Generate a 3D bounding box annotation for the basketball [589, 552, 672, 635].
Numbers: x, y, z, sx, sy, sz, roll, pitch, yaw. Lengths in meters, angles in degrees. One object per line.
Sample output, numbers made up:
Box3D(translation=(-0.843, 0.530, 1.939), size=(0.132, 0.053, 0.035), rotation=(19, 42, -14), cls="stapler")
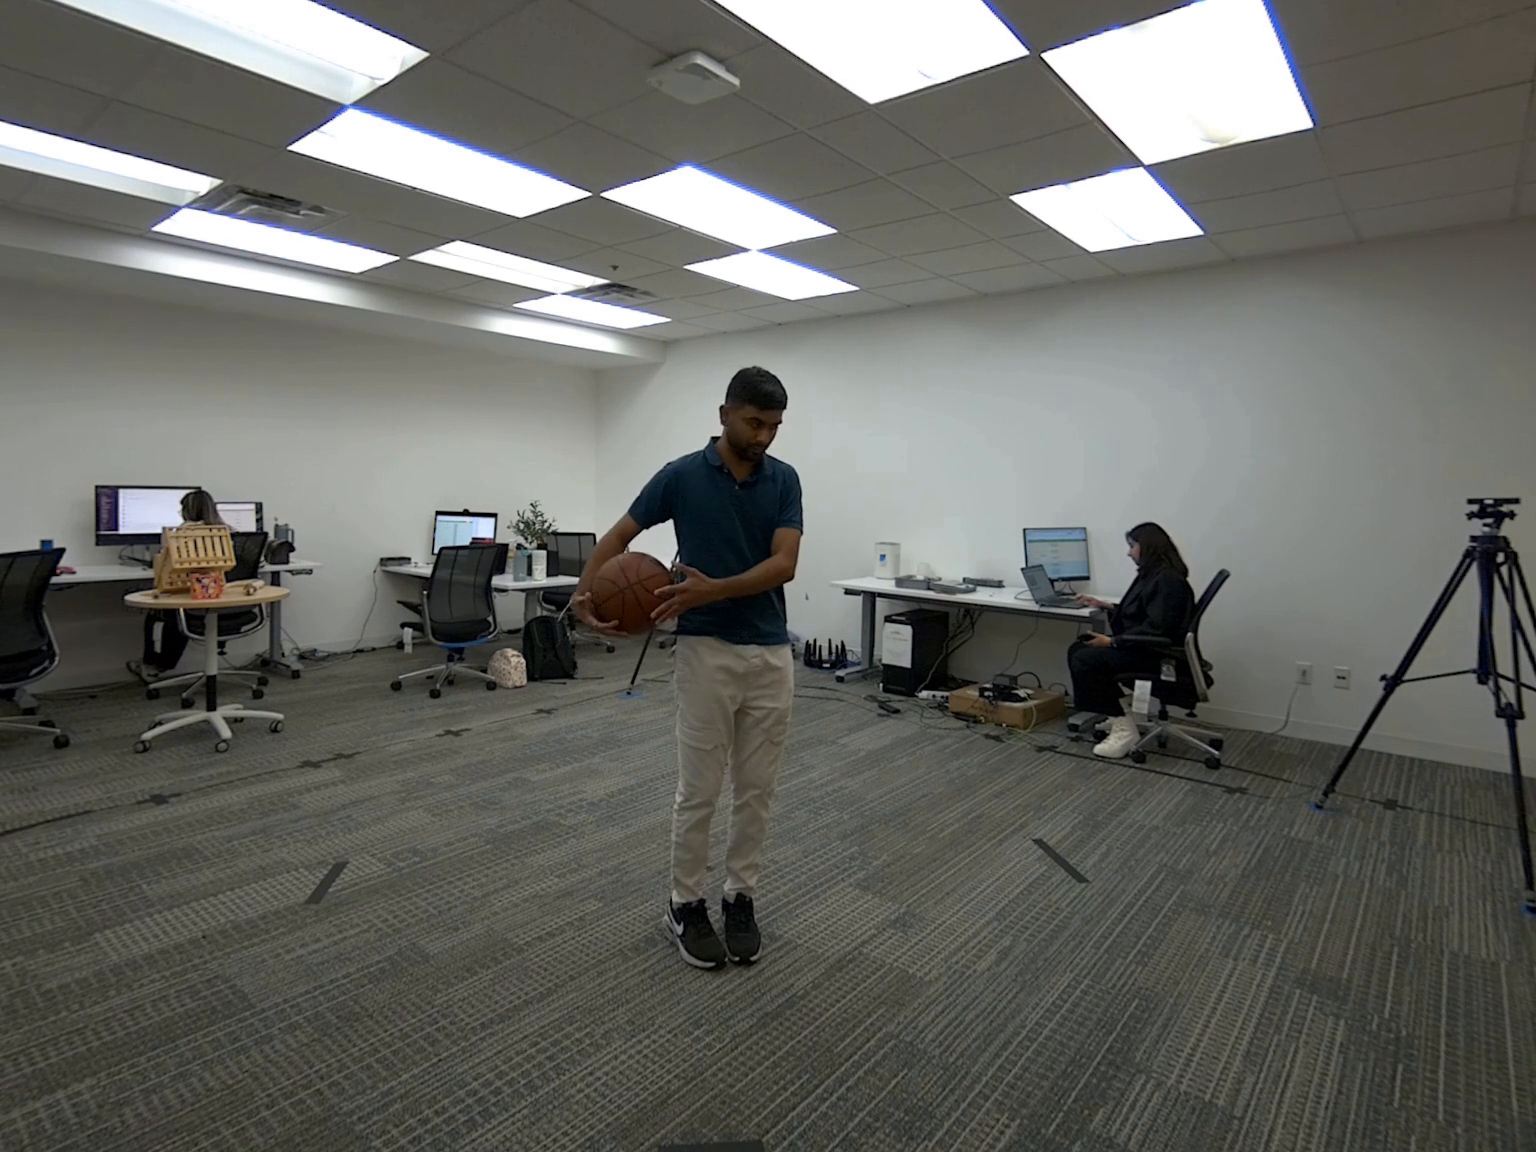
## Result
Box3D(translation=(-0.368, 0.042, 2.435), size=(0.235, 0.235, 0.237), rotation=(1, 4, -2), cls="basketball")
